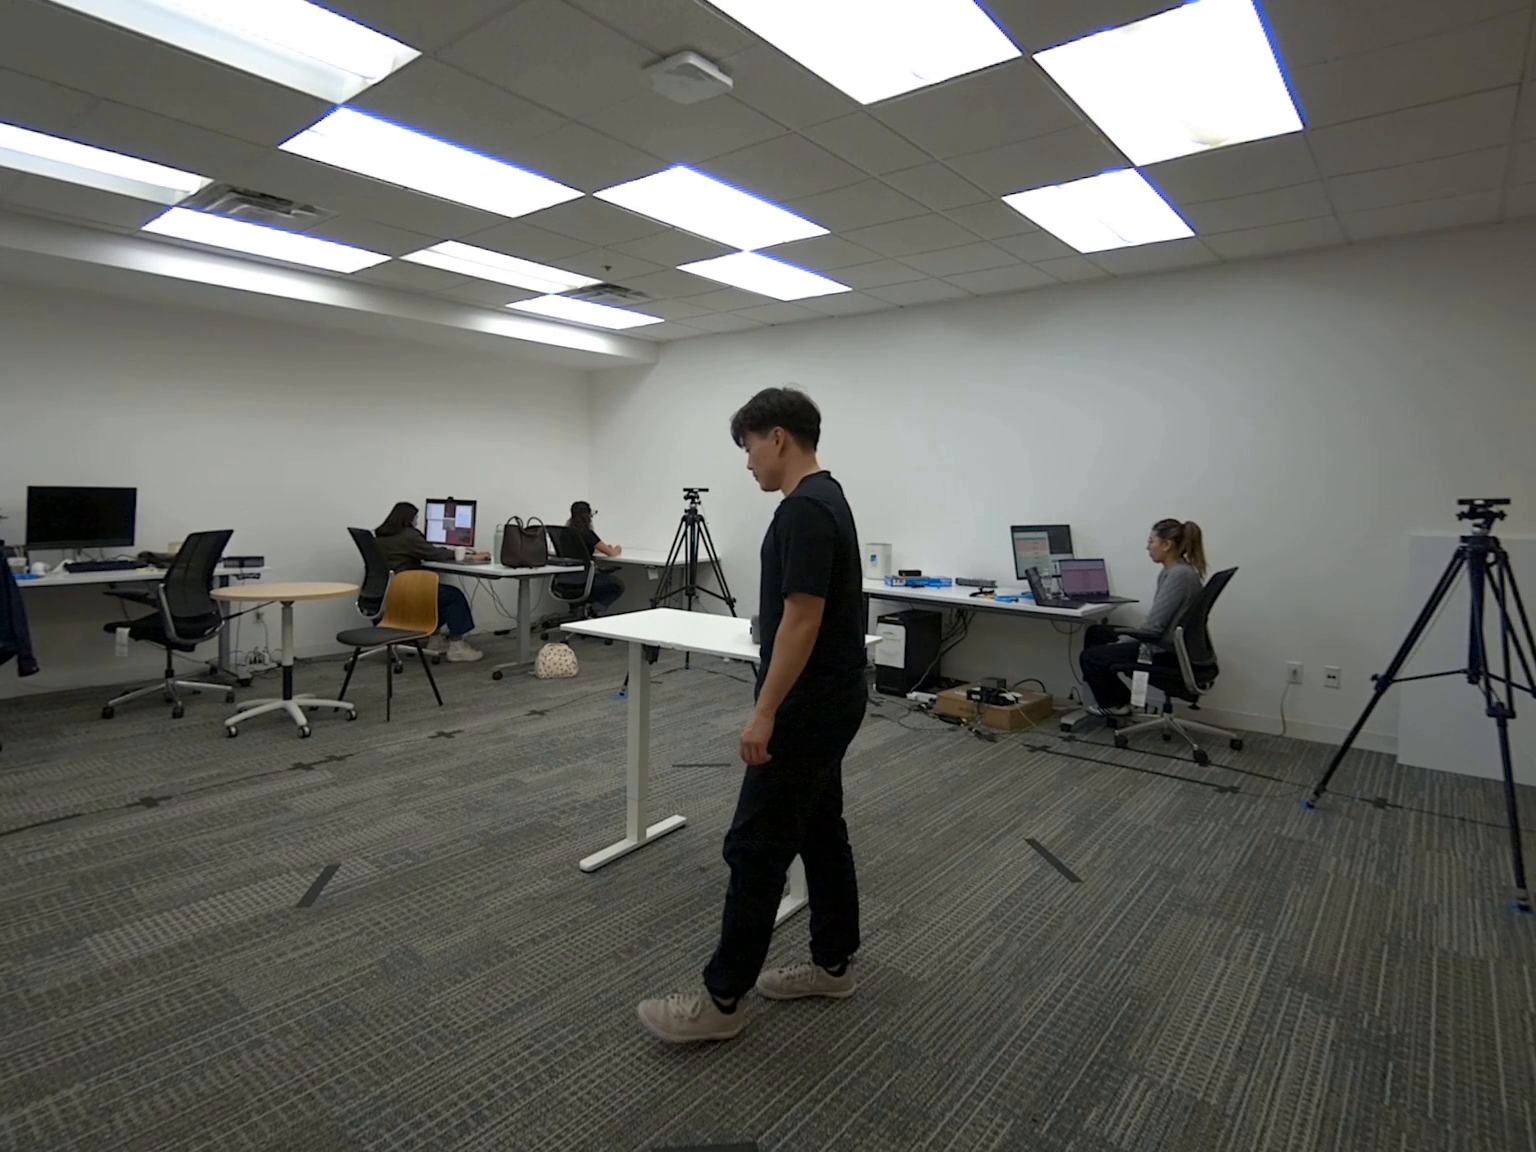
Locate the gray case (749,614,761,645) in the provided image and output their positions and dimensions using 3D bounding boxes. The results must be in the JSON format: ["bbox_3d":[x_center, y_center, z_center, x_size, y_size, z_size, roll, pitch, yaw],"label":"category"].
[{"bbox_3d":[0.077,0.162,2.894,0.259,0.104,0.260,3,7,7],"label":"gray case"}]
